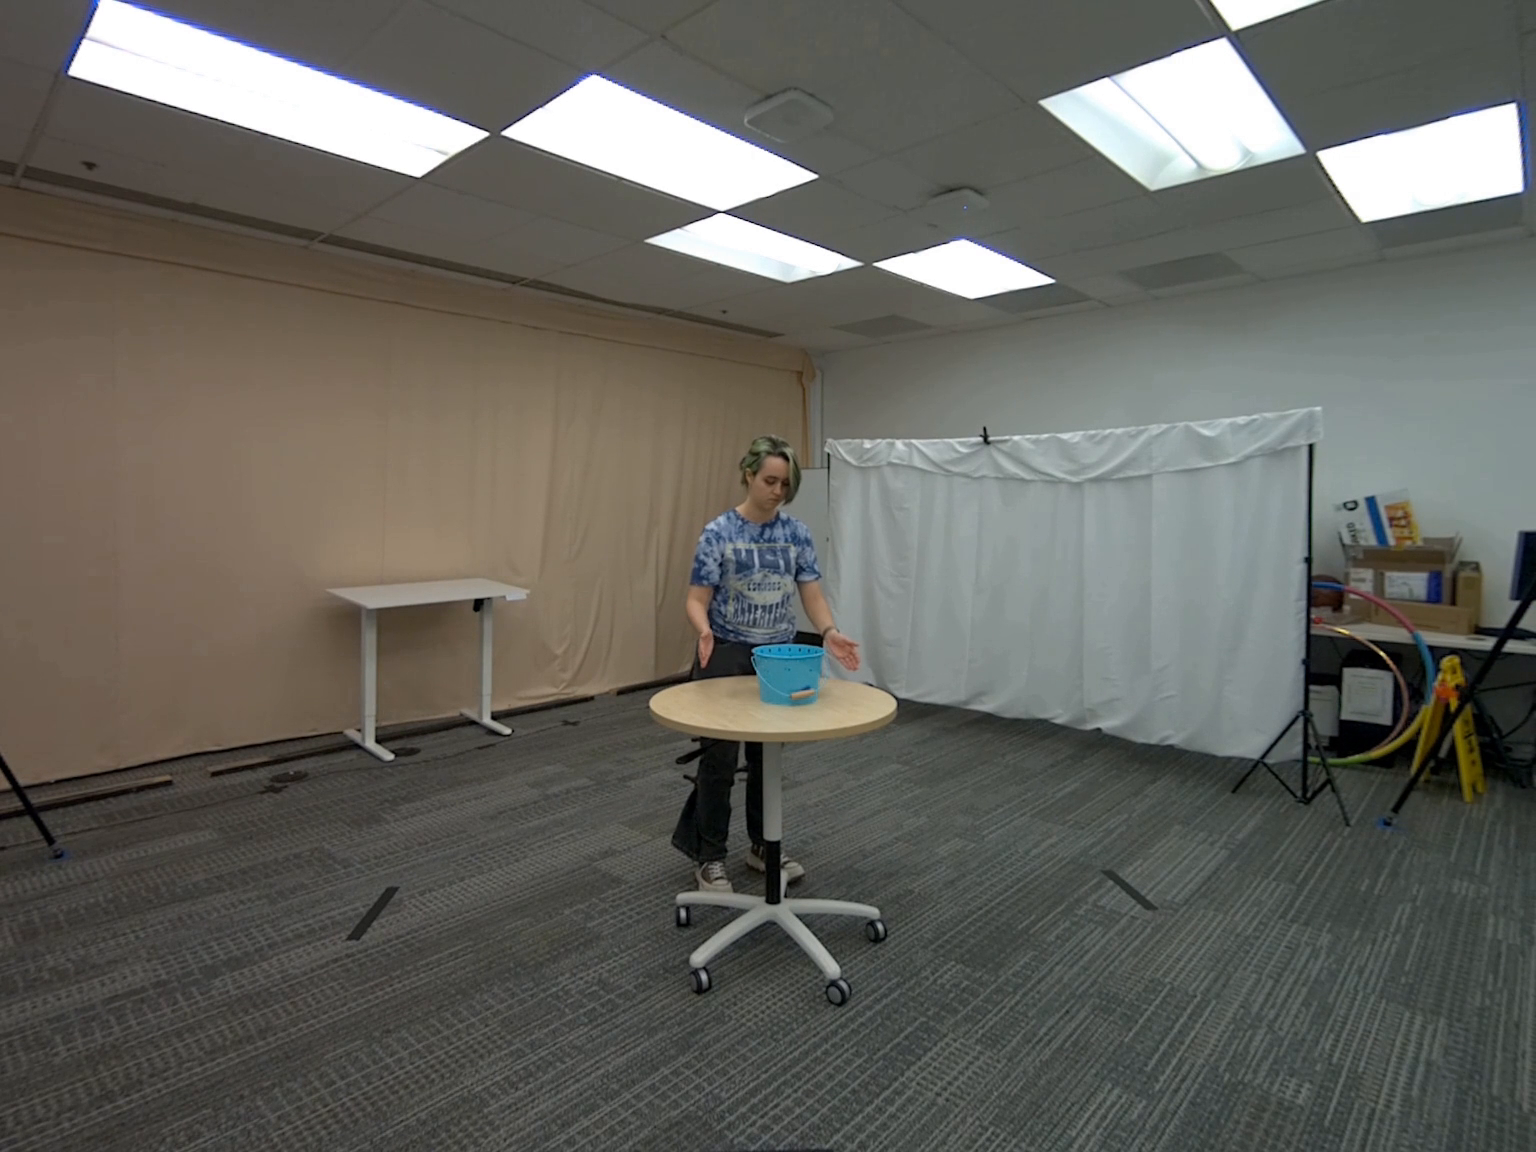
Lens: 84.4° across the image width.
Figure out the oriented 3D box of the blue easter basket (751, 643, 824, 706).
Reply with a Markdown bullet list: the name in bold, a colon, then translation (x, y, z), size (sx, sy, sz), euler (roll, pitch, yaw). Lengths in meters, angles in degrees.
- **blue easter basket**: translation (0.067, 0.313, 2.644), size (0.243, 0.156, 0.244), euler (-1, 2, -2)
